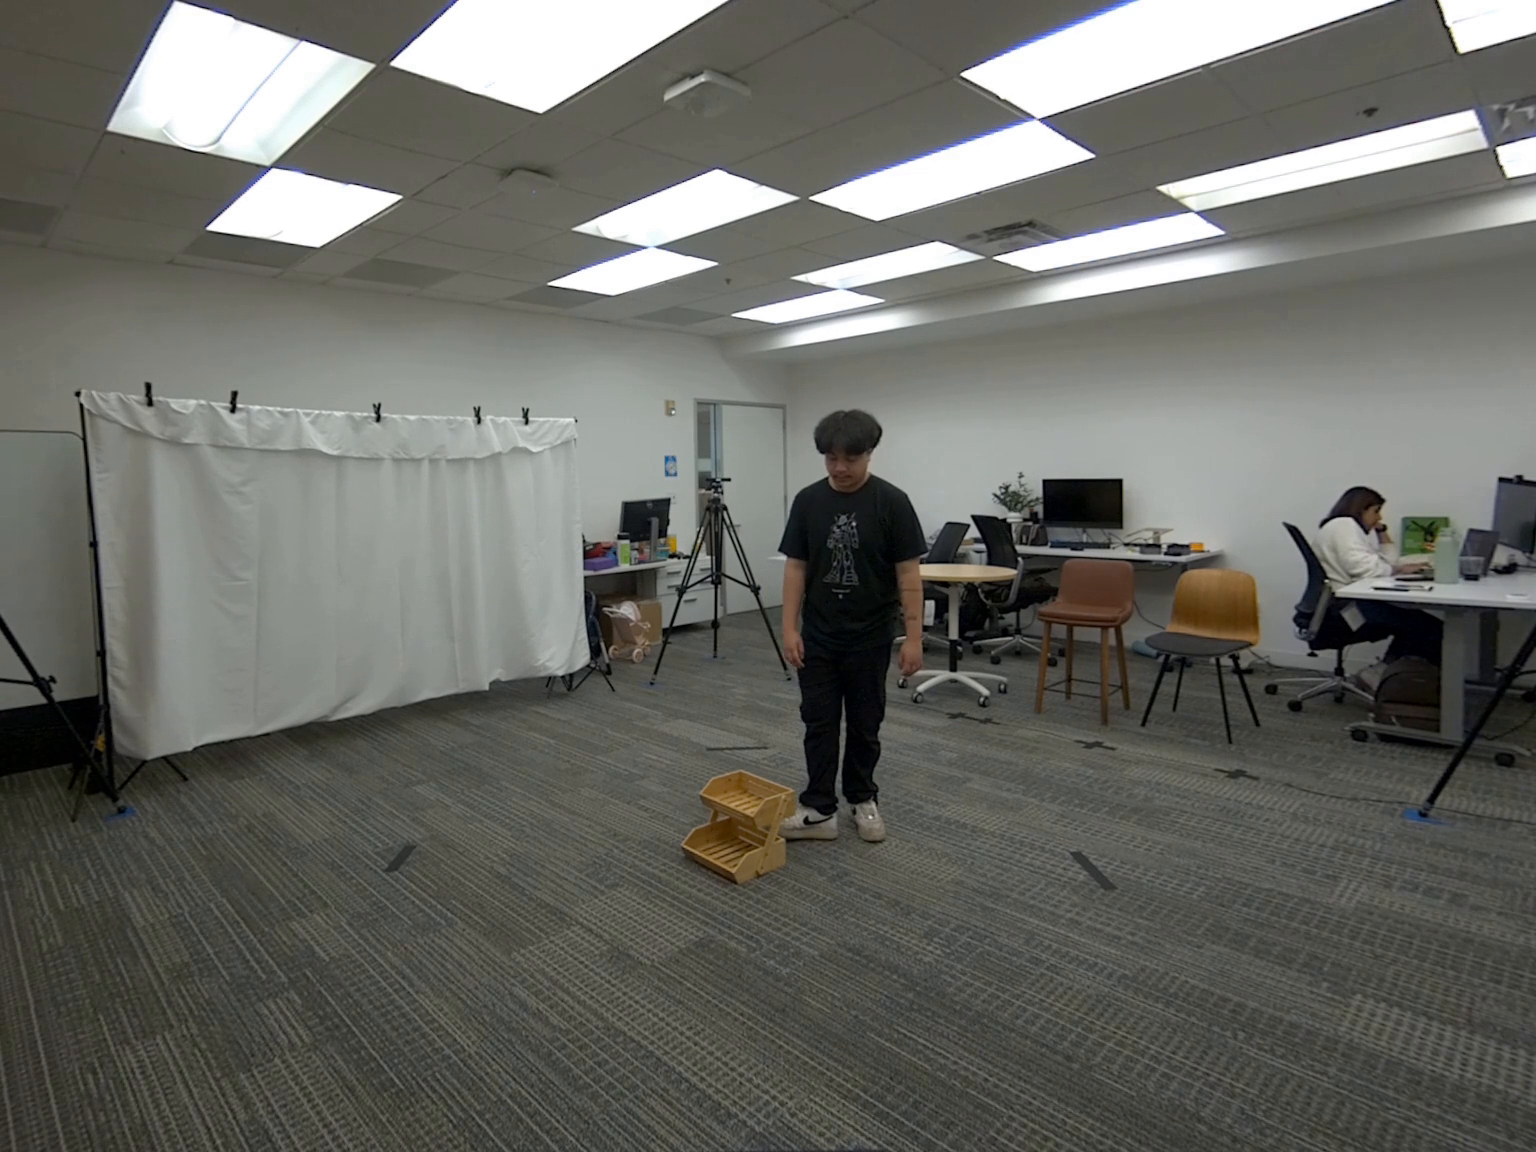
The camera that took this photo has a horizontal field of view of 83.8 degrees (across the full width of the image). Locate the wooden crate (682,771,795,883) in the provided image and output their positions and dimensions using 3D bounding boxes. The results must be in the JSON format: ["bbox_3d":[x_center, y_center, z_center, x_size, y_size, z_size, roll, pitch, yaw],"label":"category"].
[{"bbox_3d":[-0.112,0.906,3.132,0.294,0.272,0.334,-4,6,-42],"label":"wooden crate"}]
